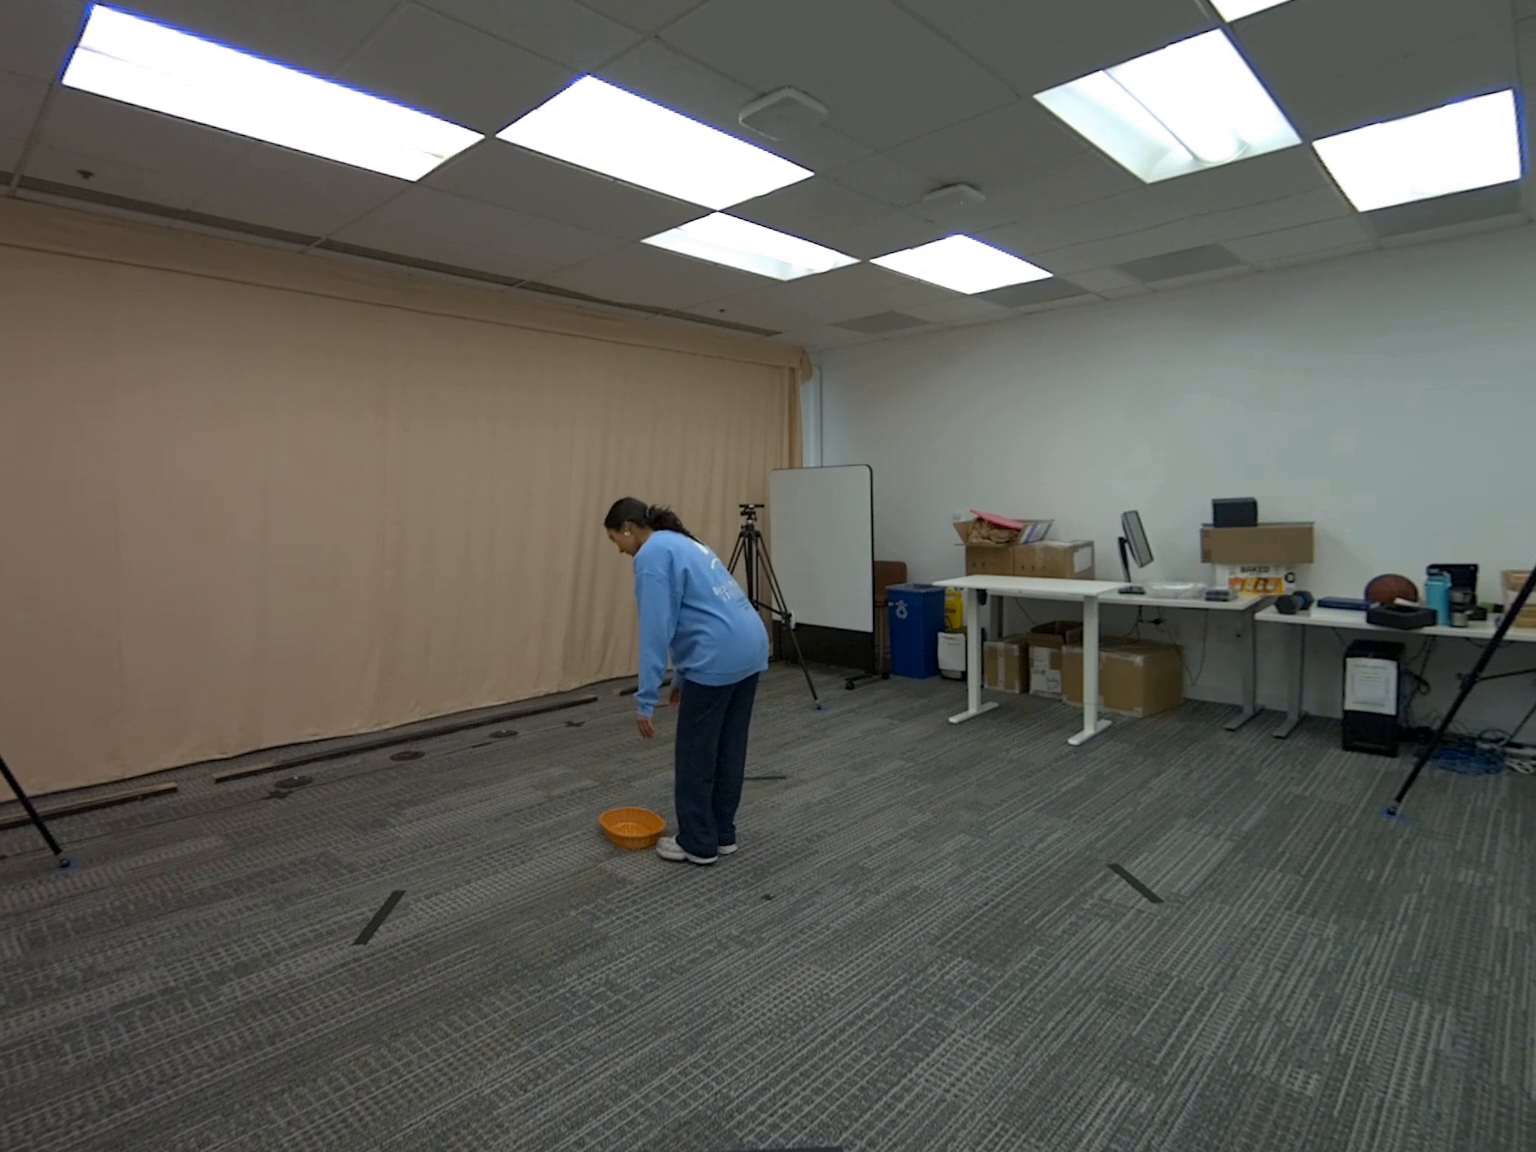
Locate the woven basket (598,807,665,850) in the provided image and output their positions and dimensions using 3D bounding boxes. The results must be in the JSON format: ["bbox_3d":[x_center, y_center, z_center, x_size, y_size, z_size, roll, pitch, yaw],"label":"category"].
[{"bbox_3d":[-0.576,1.062,3.556,0.246,0.073,0.360,-2,4,-28],"label":"woven basket"}]
